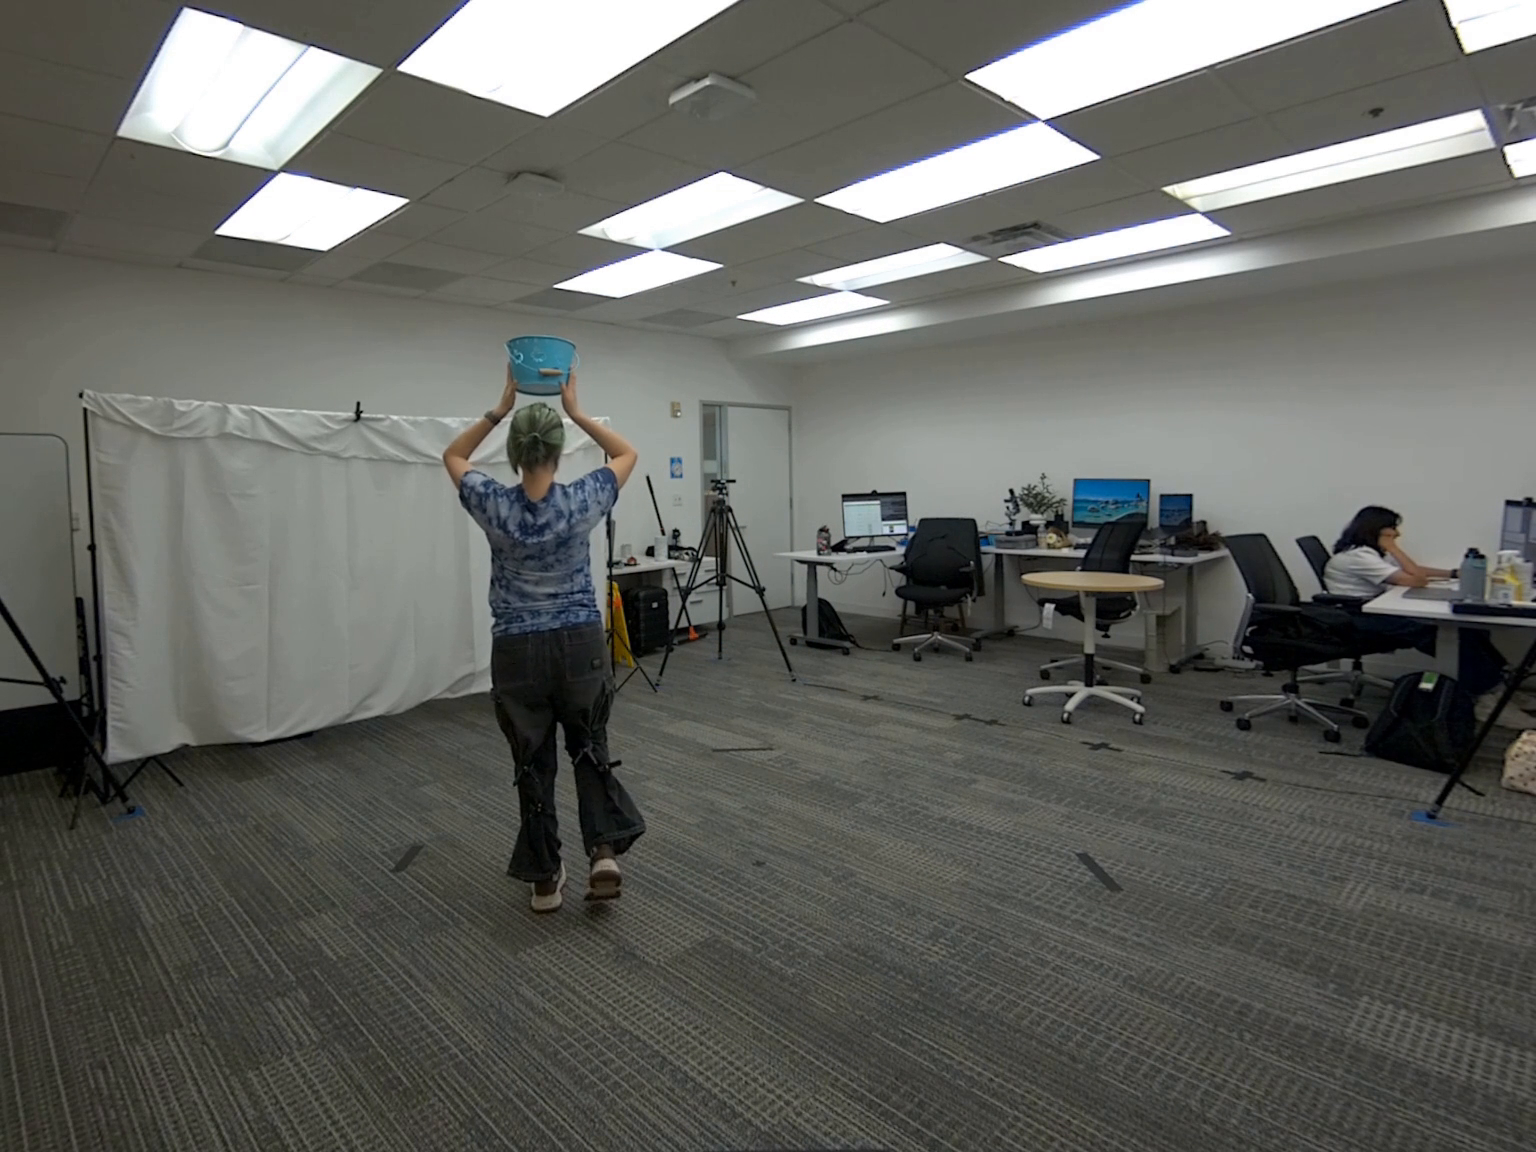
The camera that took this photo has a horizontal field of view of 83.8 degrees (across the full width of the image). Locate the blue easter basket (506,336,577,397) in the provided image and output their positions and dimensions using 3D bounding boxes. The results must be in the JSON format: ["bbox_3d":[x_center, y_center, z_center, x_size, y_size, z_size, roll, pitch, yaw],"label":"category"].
[{"bbox_3d":[-0.772,-0.702,2.867,0.243,0.157,0.242,-2,-4,-2],"label":"blue easter basket"}]
